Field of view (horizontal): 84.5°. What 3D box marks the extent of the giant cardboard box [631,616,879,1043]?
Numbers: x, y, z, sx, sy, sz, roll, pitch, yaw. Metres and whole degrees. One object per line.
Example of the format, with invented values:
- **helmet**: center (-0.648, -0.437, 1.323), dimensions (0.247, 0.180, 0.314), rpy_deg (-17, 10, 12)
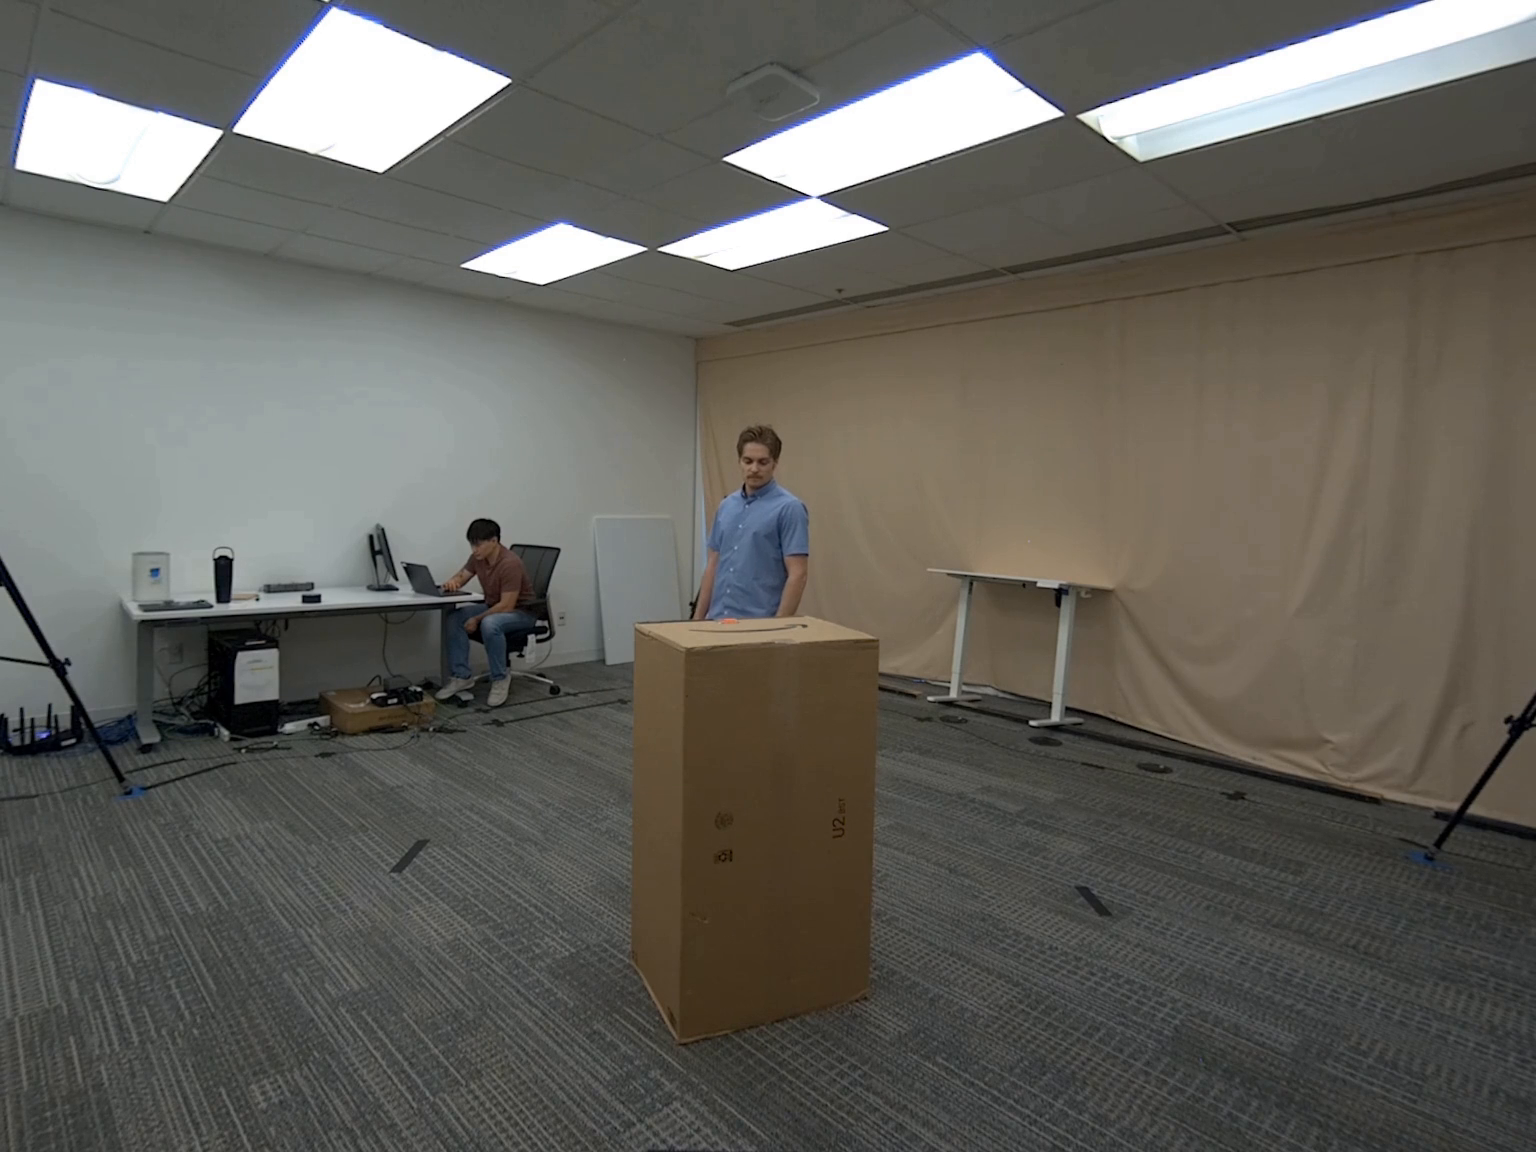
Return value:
- **giant cardboard box**: center (-0.056, 0.662, 2.405), dimensions (0.567, 1.023, 0.435), rpy_deg (0, 4, -25)
